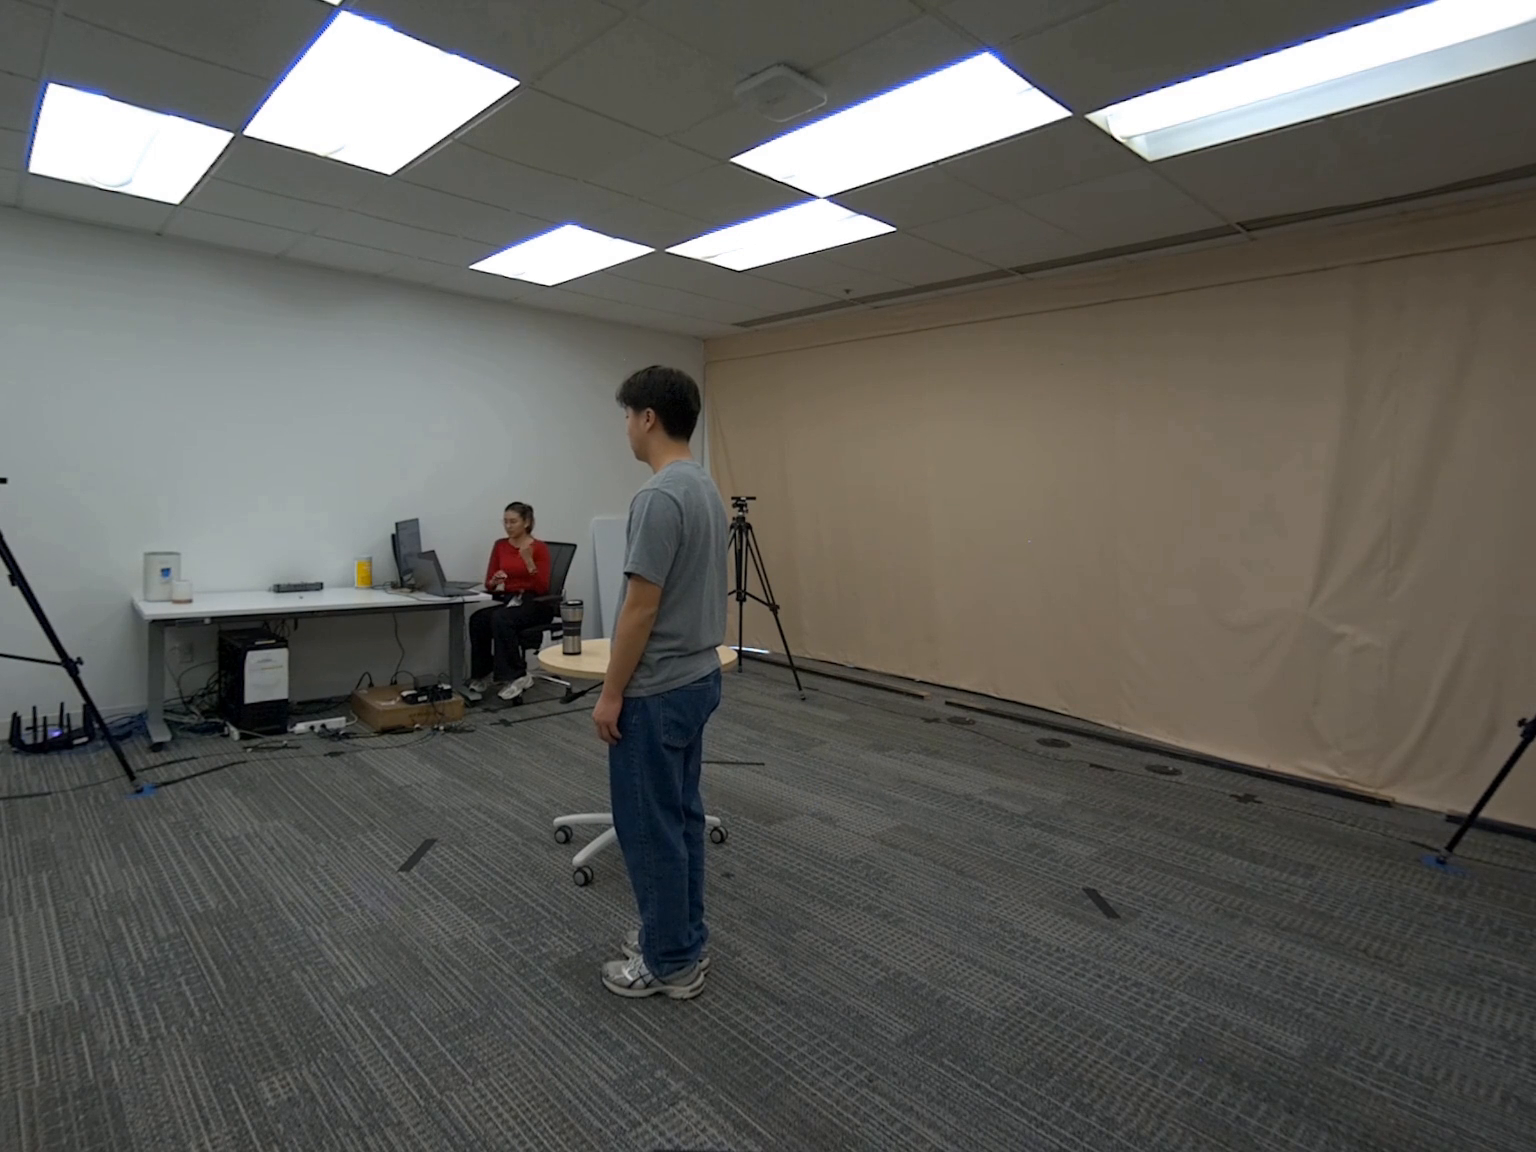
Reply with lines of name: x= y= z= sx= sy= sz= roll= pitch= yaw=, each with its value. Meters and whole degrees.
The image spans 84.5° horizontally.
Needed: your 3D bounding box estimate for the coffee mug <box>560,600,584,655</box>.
coffee mug: x=-0.738 y=0.197 z=3.231 sx=0.090 sy=0.202 sz=0.120 roll=1 pitch=7 yaw=29
